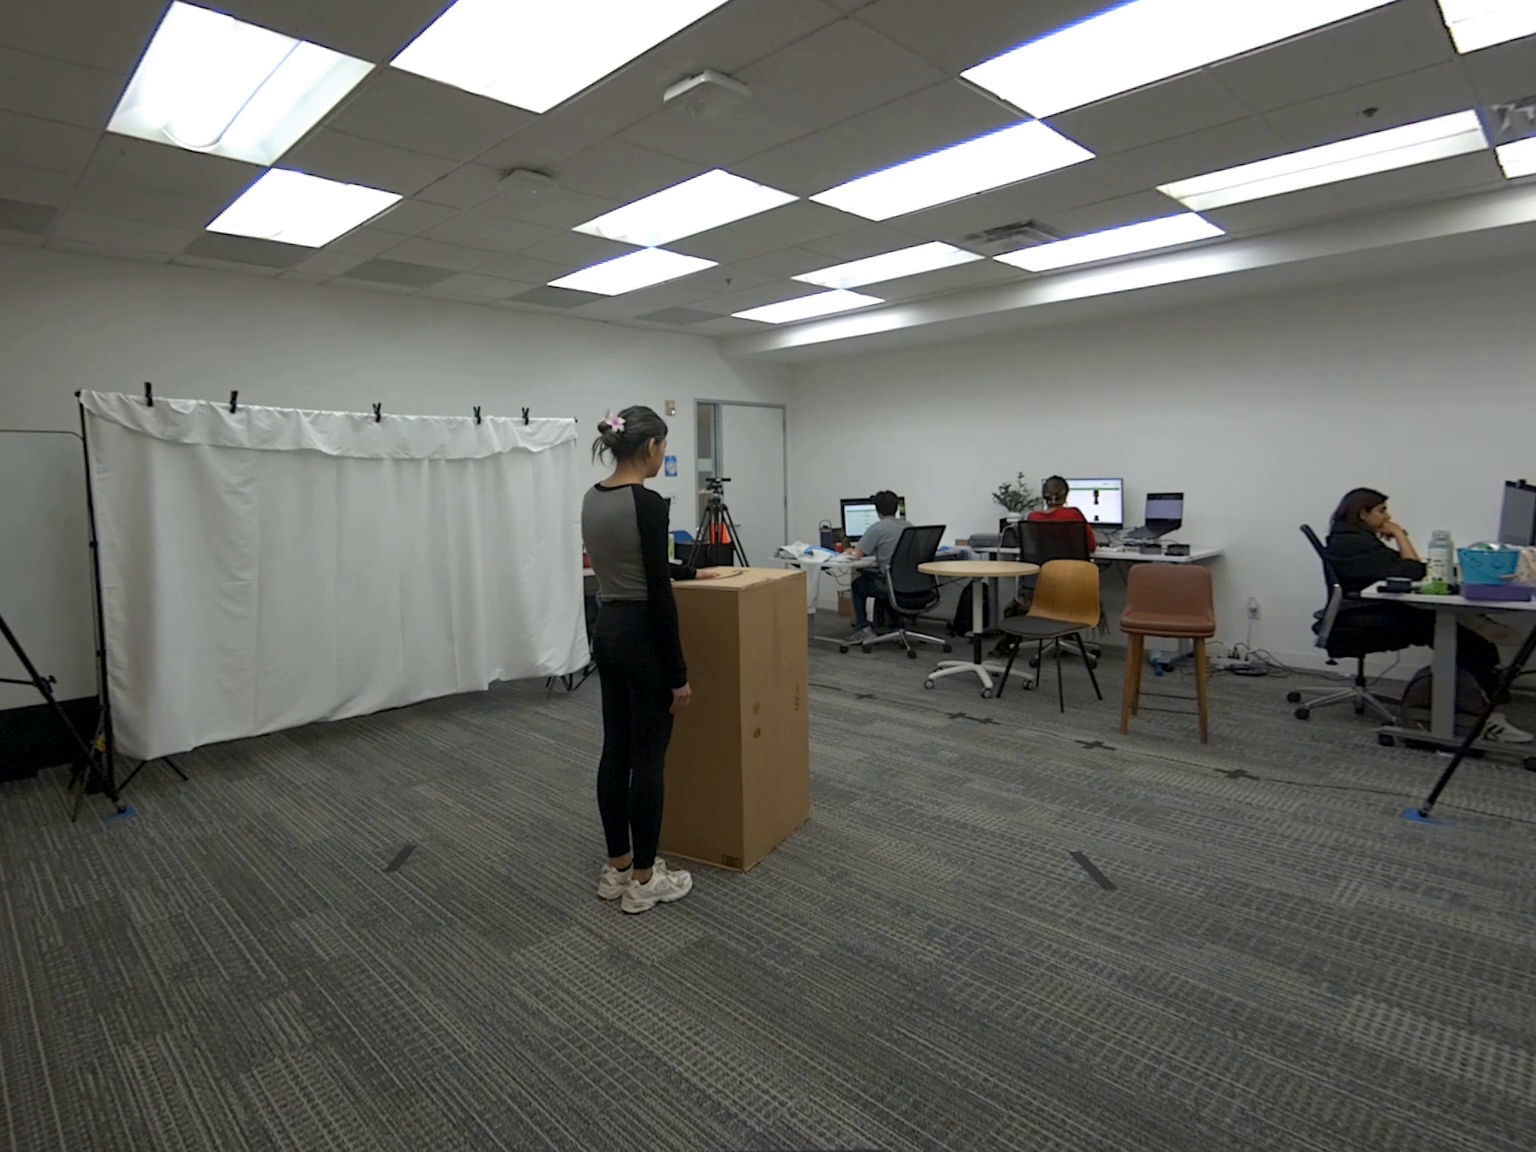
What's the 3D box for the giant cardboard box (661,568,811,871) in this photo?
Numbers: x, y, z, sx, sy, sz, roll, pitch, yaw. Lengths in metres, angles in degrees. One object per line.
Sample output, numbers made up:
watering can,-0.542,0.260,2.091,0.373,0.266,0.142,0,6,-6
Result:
giant cardboard box,-0.149,0.511,3.342,0.458,1.023,0.572,2,5,27
